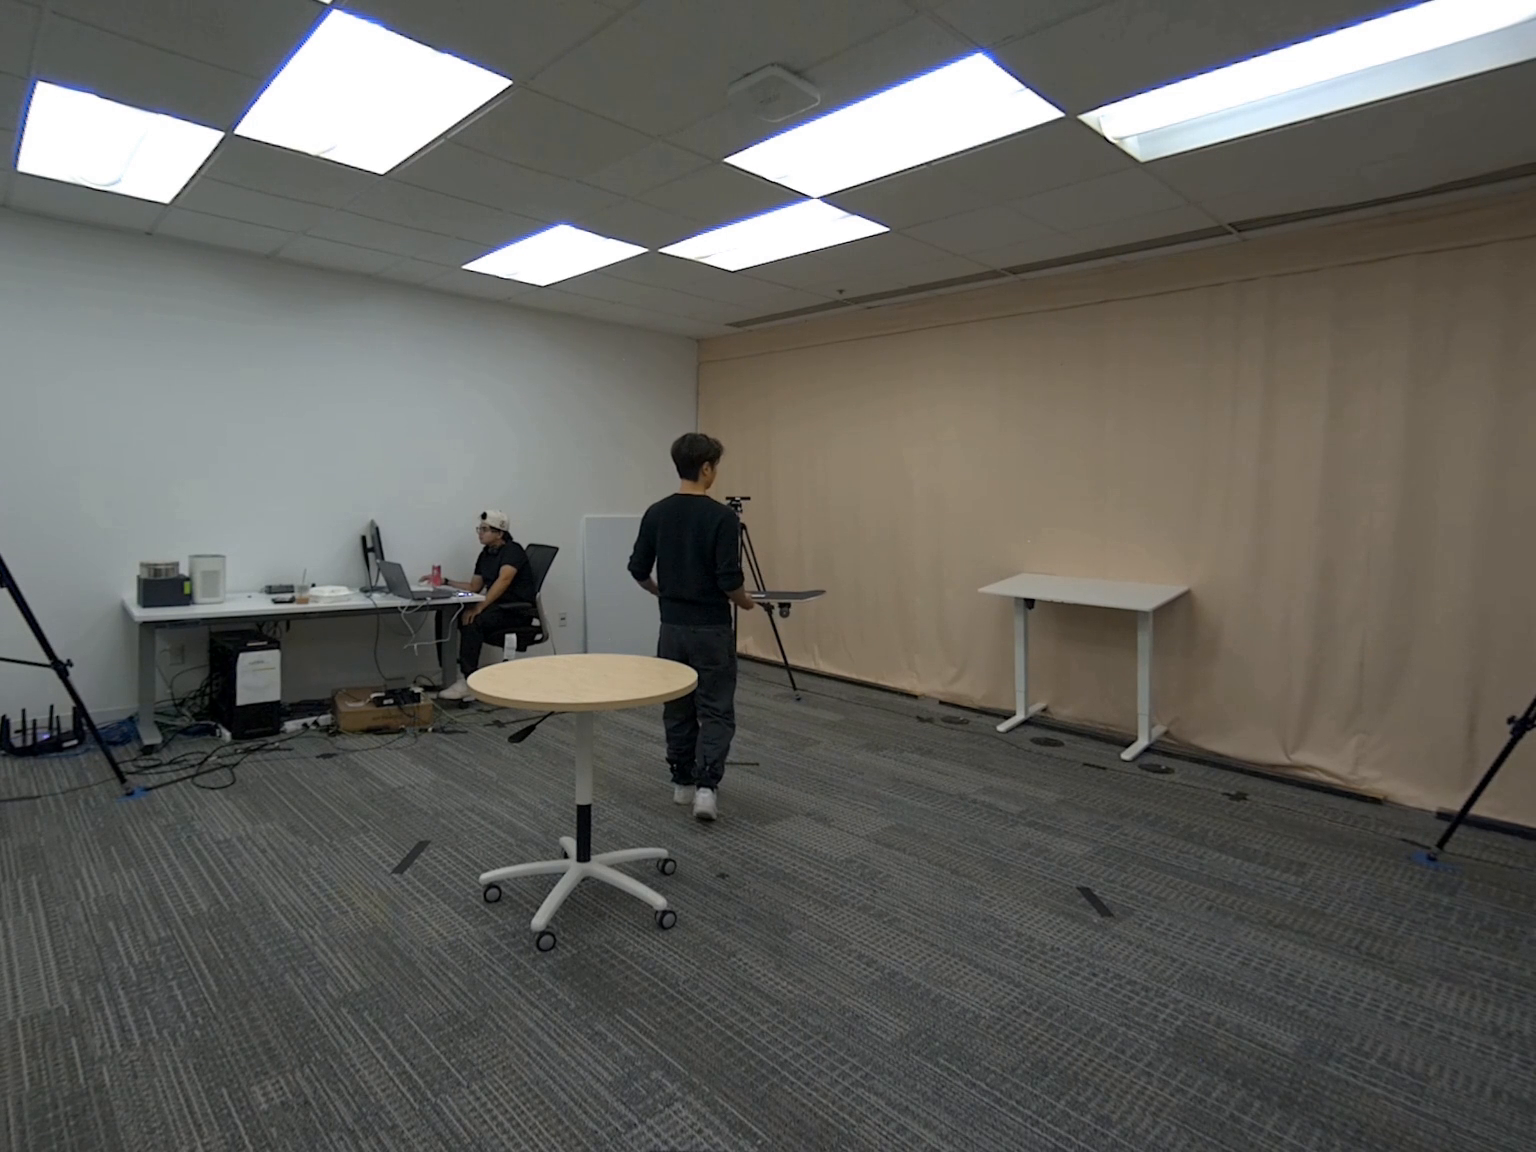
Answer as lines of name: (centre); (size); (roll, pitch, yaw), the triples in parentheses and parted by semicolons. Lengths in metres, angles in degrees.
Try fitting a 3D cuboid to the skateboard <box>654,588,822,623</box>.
skateboard: (-0.143, 0.129, 4.059); (0.789, 0.109, 0.194); (1, 10, 6)
